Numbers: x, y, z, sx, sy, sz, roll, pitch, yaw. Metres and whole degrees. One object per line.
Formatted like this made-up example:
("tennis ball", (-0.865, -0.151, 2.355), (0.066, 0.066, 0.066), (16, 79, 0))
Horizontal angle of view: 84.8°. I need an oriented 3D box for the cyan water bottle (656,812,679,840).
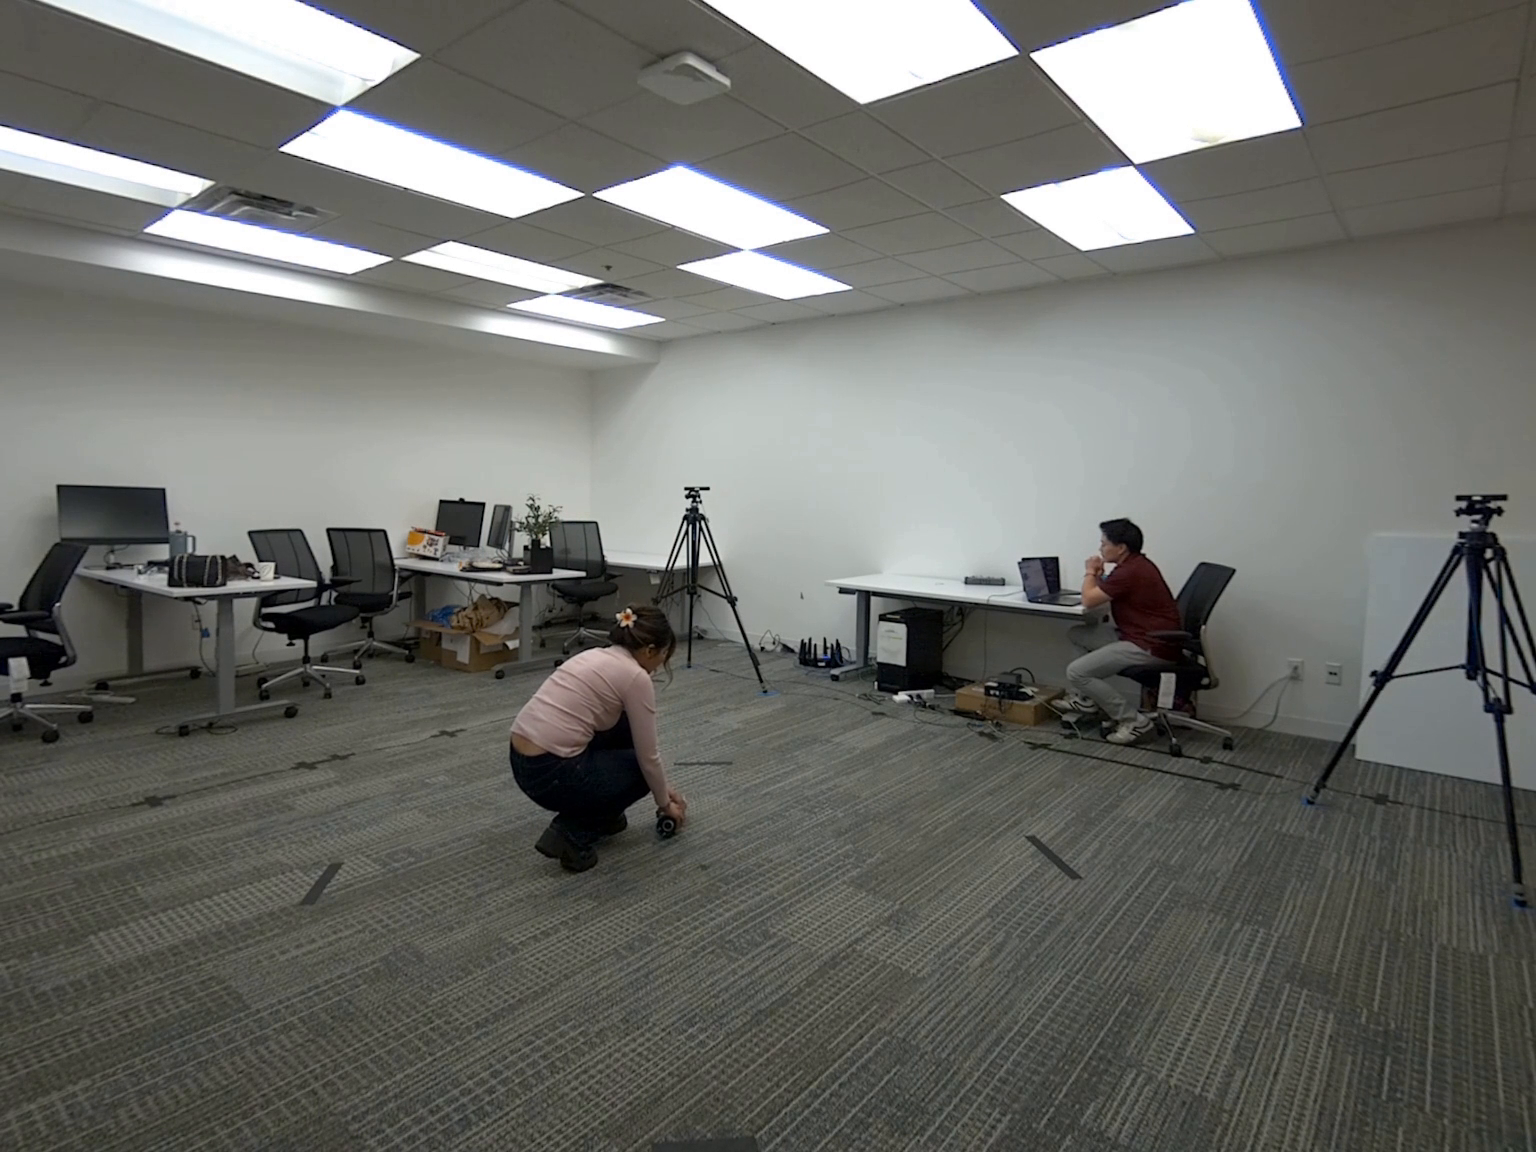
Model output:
("cyan water bottle", (-0.410, 0.985, 3.486), (0.092, 0.092, 0.284), (1, 8, 1))
